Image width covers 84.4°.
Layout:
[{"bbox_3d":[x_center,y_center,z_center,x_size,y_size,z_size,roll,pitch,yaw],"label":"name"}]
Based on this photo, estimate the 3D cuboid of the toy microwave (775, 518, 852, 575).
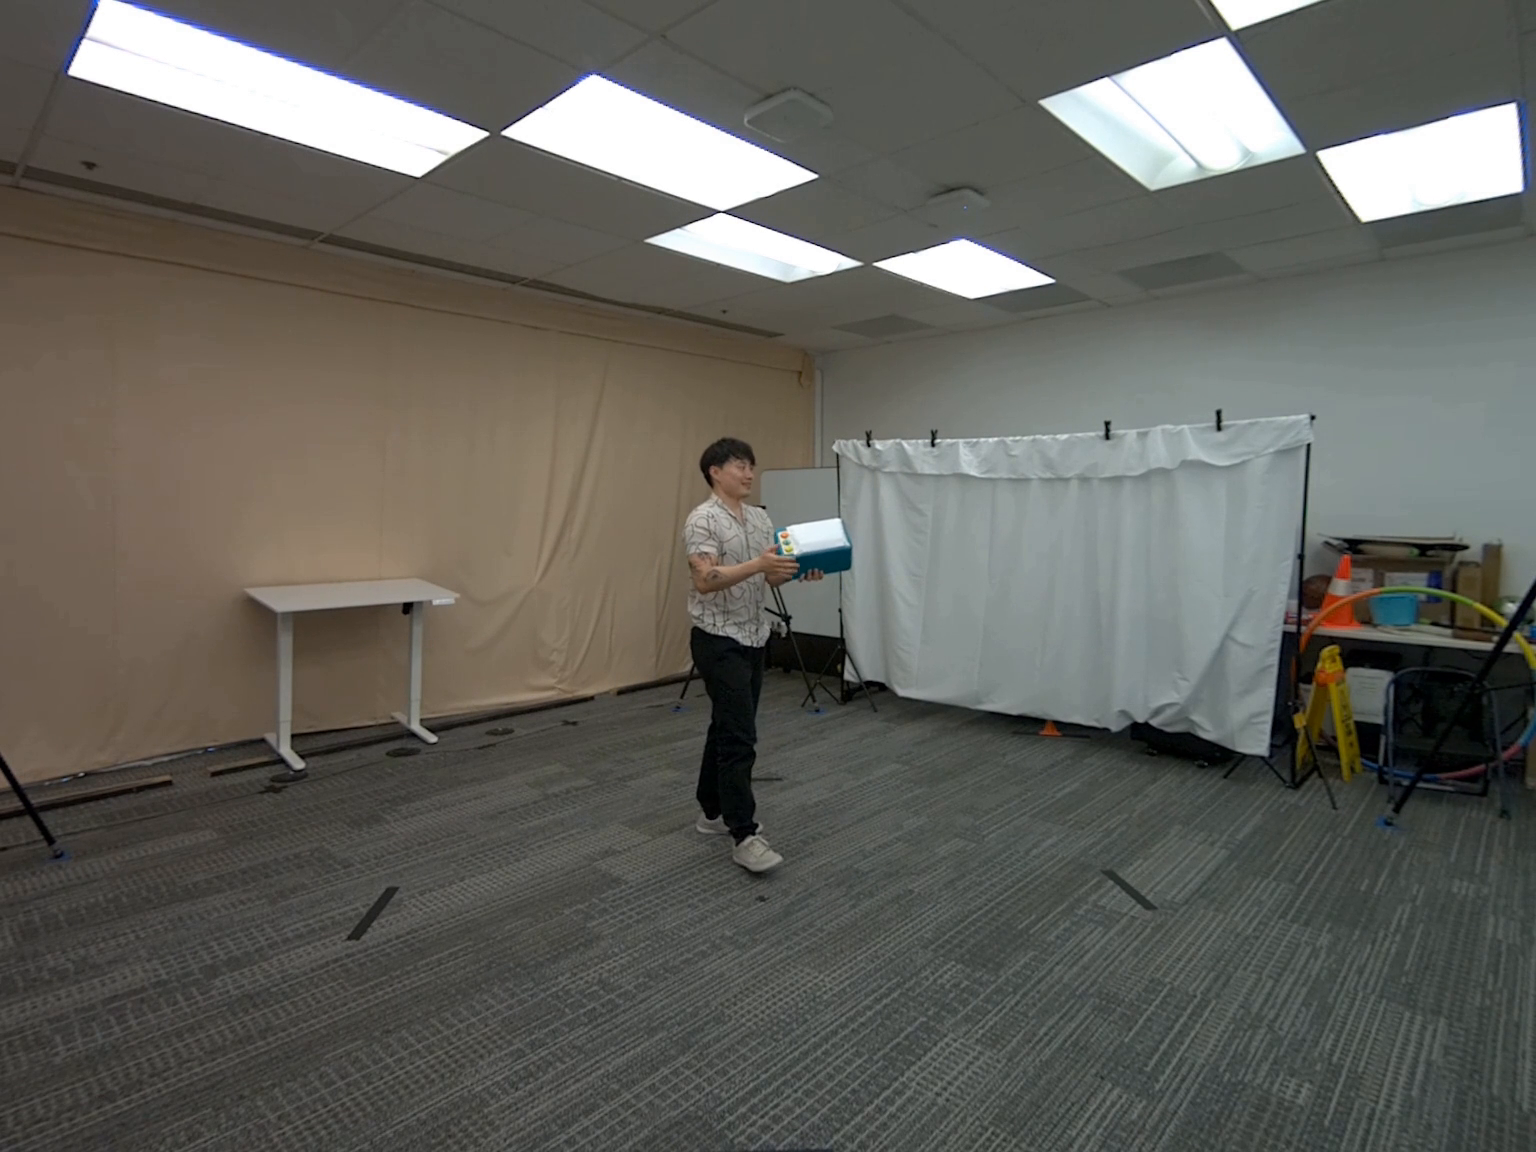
[{"bbox_3d":[0.178,-0.112,3.288,0.285,0.149,0.189,-8,46,-3],"label":"toy microwave"}]
